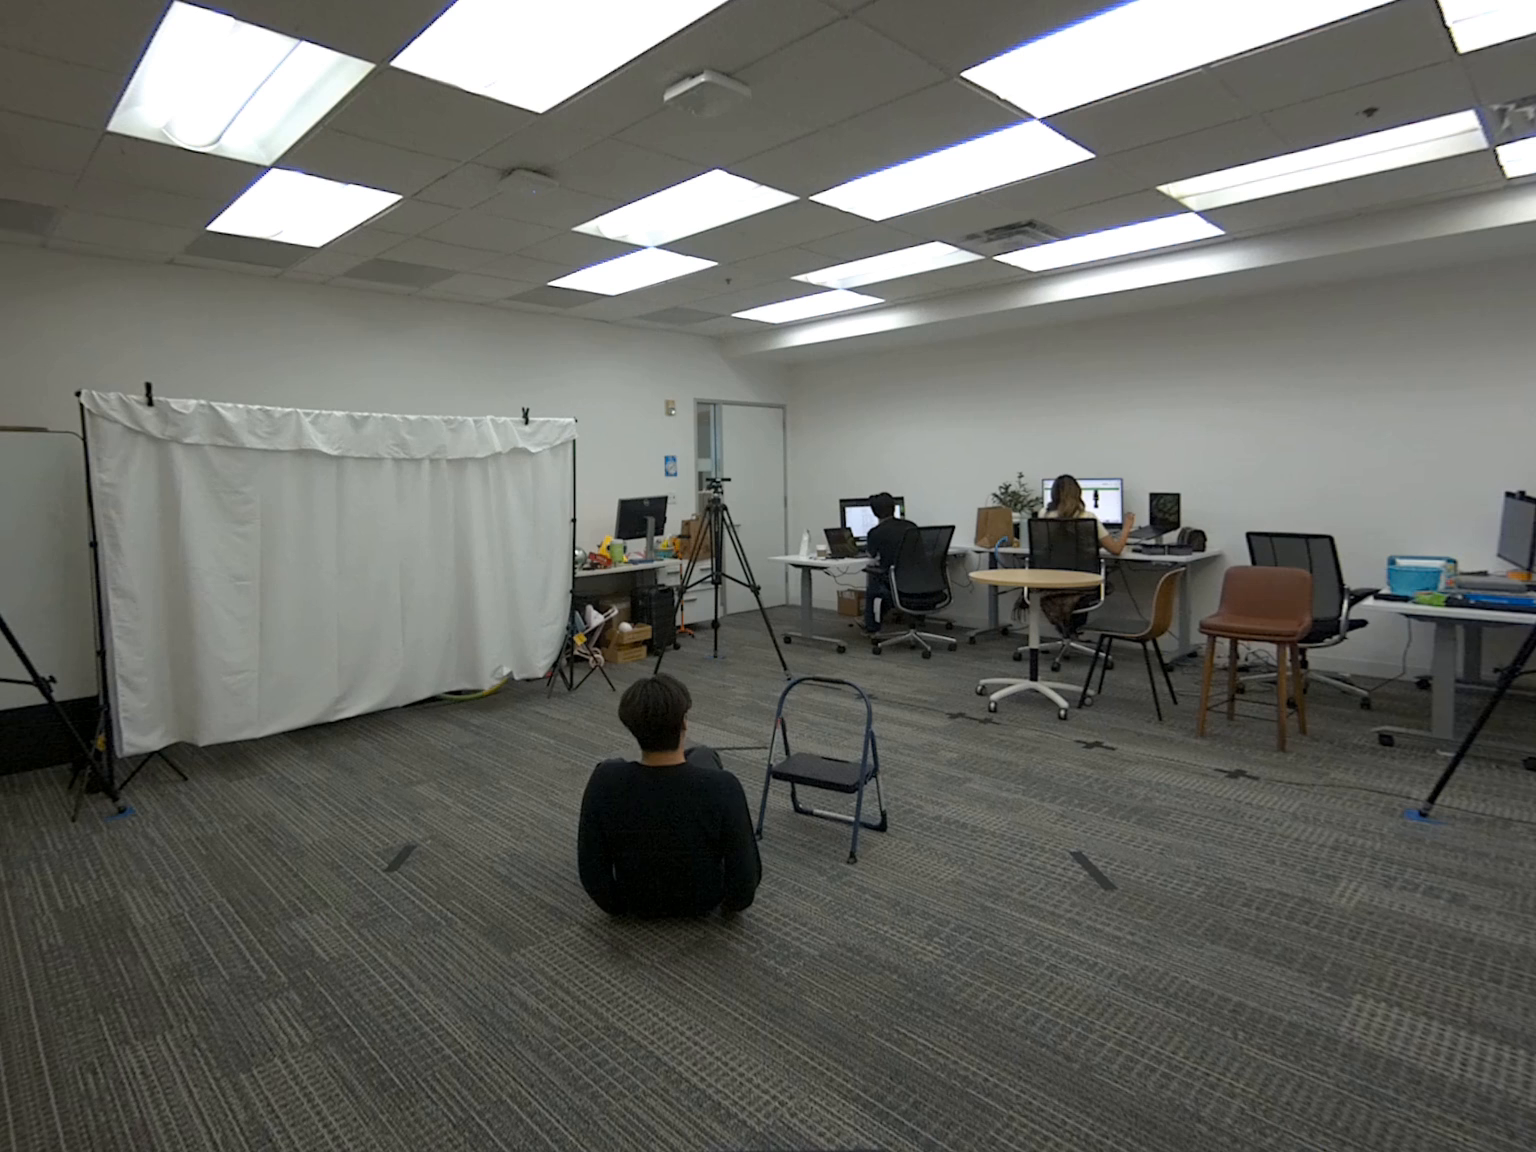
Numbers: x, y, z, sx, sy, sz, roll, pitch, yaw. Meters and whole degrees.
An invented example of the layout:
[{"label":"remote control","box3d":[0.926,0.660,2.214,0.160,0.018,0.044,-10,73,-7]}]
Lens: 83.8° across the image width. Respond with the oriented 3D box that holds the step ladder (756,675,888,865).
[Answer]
[{"label":"step ladder","box3d":[0.210,0.709,3.322,0.442,0.604,0.341,2,5,32]}]
